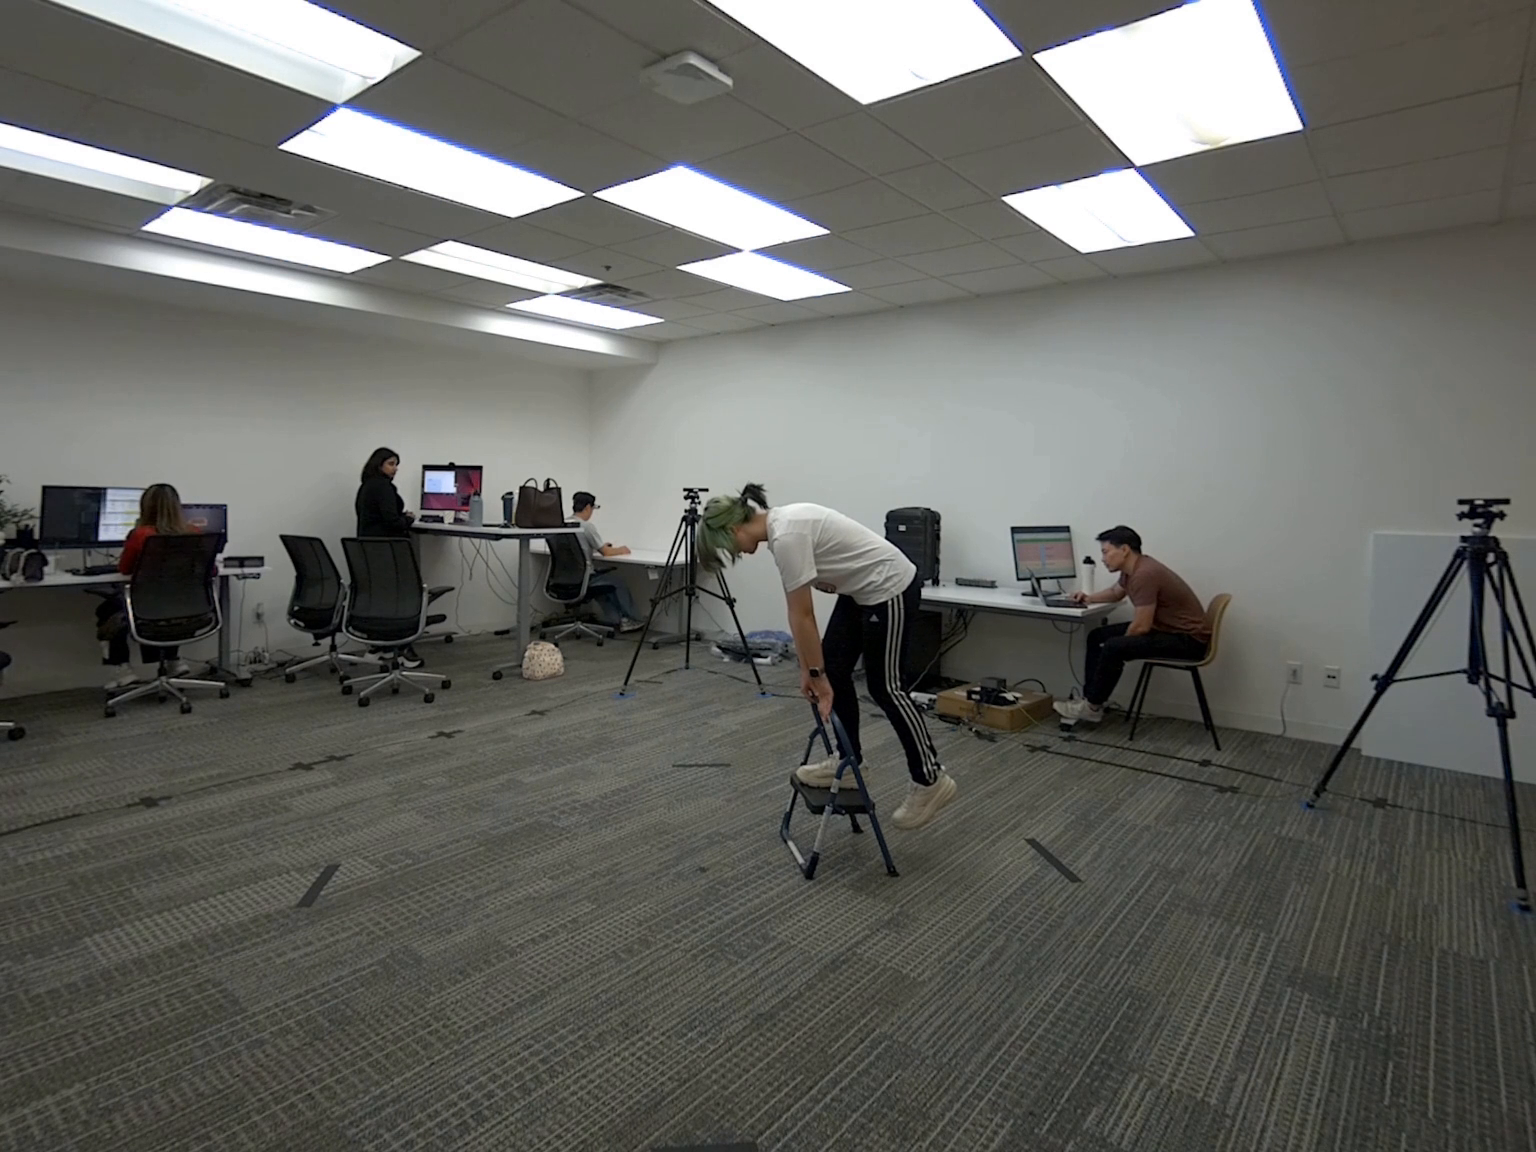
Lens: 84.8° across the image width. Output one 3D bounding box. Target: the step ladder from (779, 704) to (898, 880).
[{"bbox_3d":[0.260,0.768,3.253,0.345,0.604,0.437,1,4,-12],"label":"step ladder"}]
